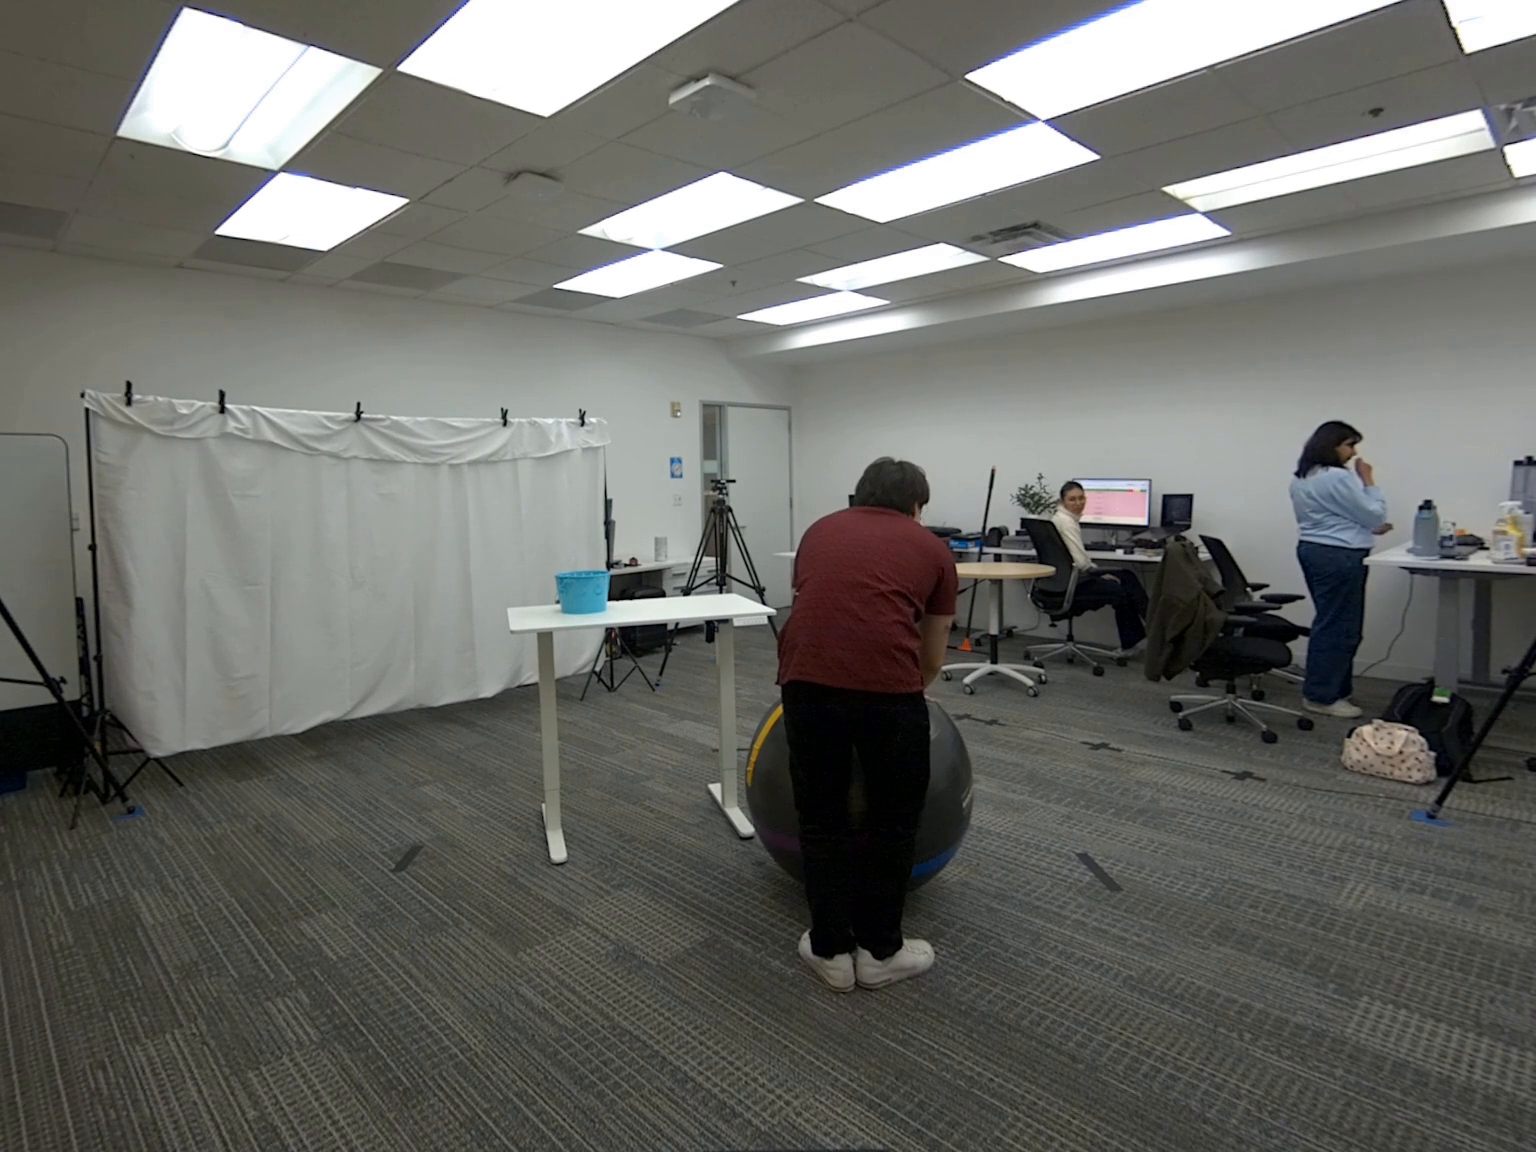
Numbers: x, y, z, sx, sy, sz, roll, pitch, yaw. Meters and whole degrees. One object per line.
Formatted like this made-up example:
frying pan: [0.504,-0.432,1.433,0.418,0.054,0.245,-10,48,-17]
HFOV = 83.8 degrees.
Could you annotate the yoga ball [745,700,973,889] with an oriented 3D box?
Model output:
yoga ball: [0.307,0.701,2.890,0.757,0.755,0.762,-1,5,-2]
